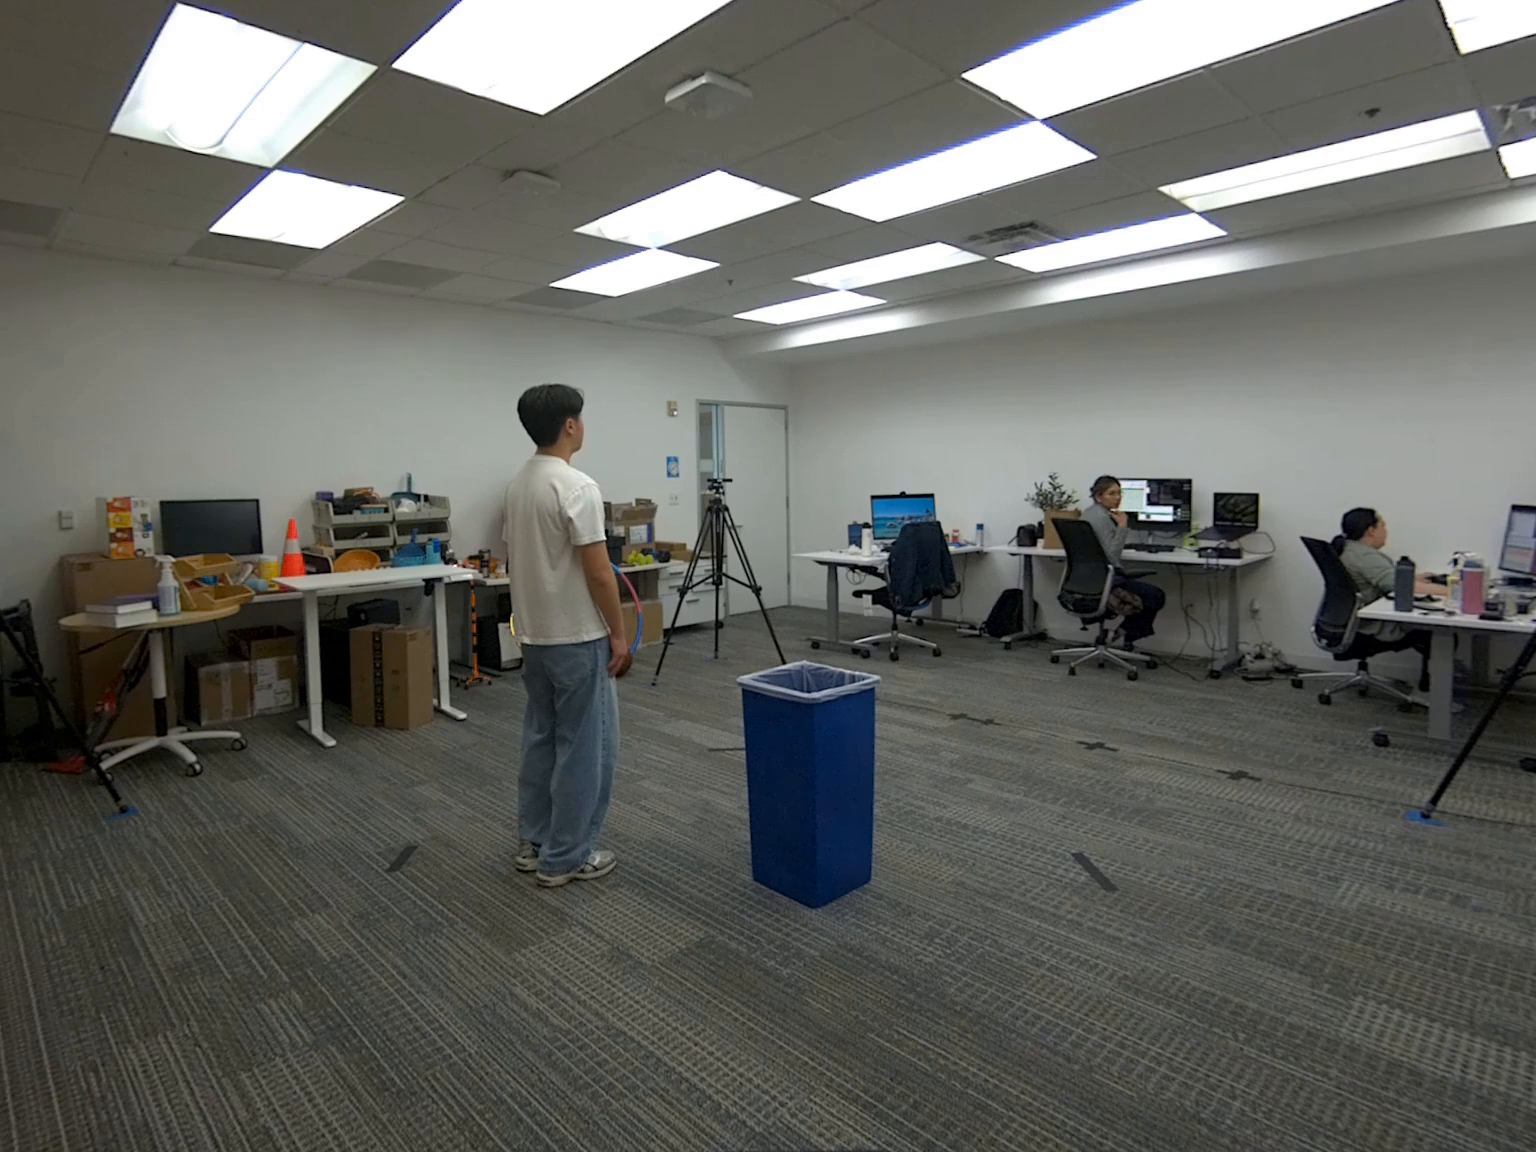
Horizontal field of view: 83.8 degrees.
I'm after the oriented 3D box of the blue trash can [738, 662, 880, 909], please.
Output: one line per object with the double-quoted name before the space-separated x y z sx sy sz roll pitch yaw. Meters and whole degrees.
"blue trash can" 0.146 0.701 2.938 0.389 0.711 0.364 3 5 44
